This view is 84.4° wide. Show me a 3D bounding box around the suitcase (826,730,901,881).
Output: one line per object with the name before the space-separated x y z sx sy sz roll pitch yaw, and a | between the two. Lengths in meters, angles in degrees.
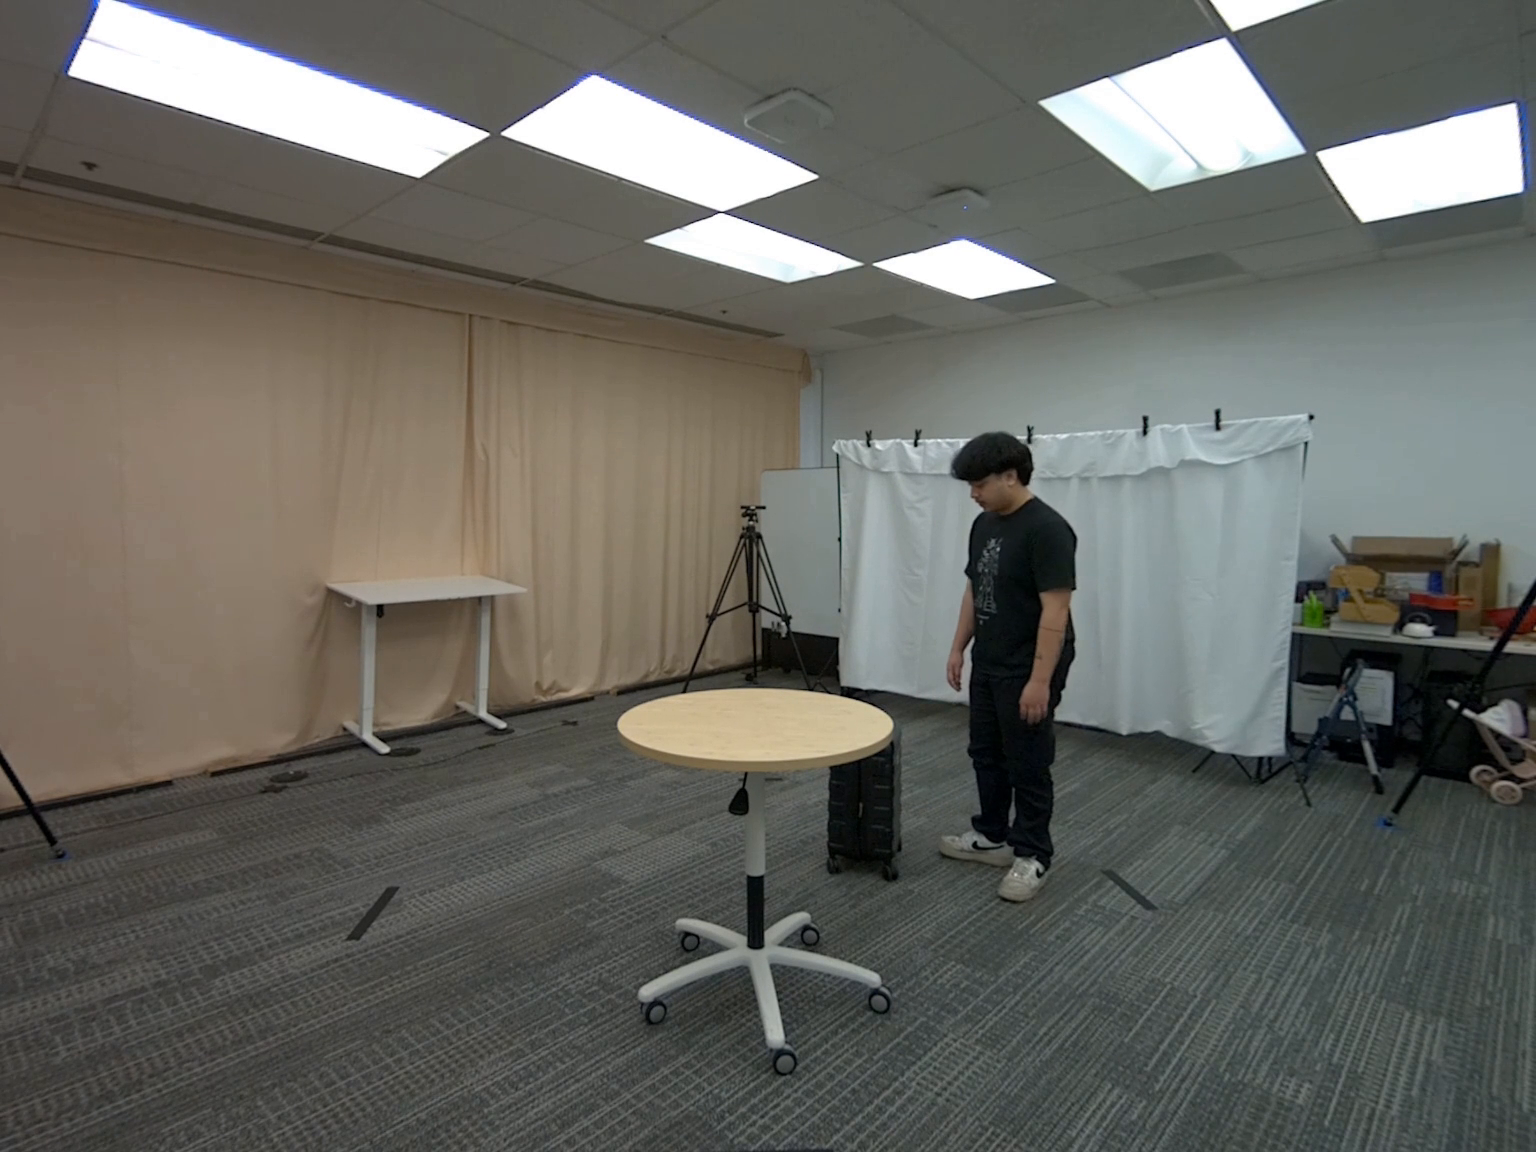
suitcase | 0.391 0.842 3.316 0.253 0.549 0.369 0 2 15
